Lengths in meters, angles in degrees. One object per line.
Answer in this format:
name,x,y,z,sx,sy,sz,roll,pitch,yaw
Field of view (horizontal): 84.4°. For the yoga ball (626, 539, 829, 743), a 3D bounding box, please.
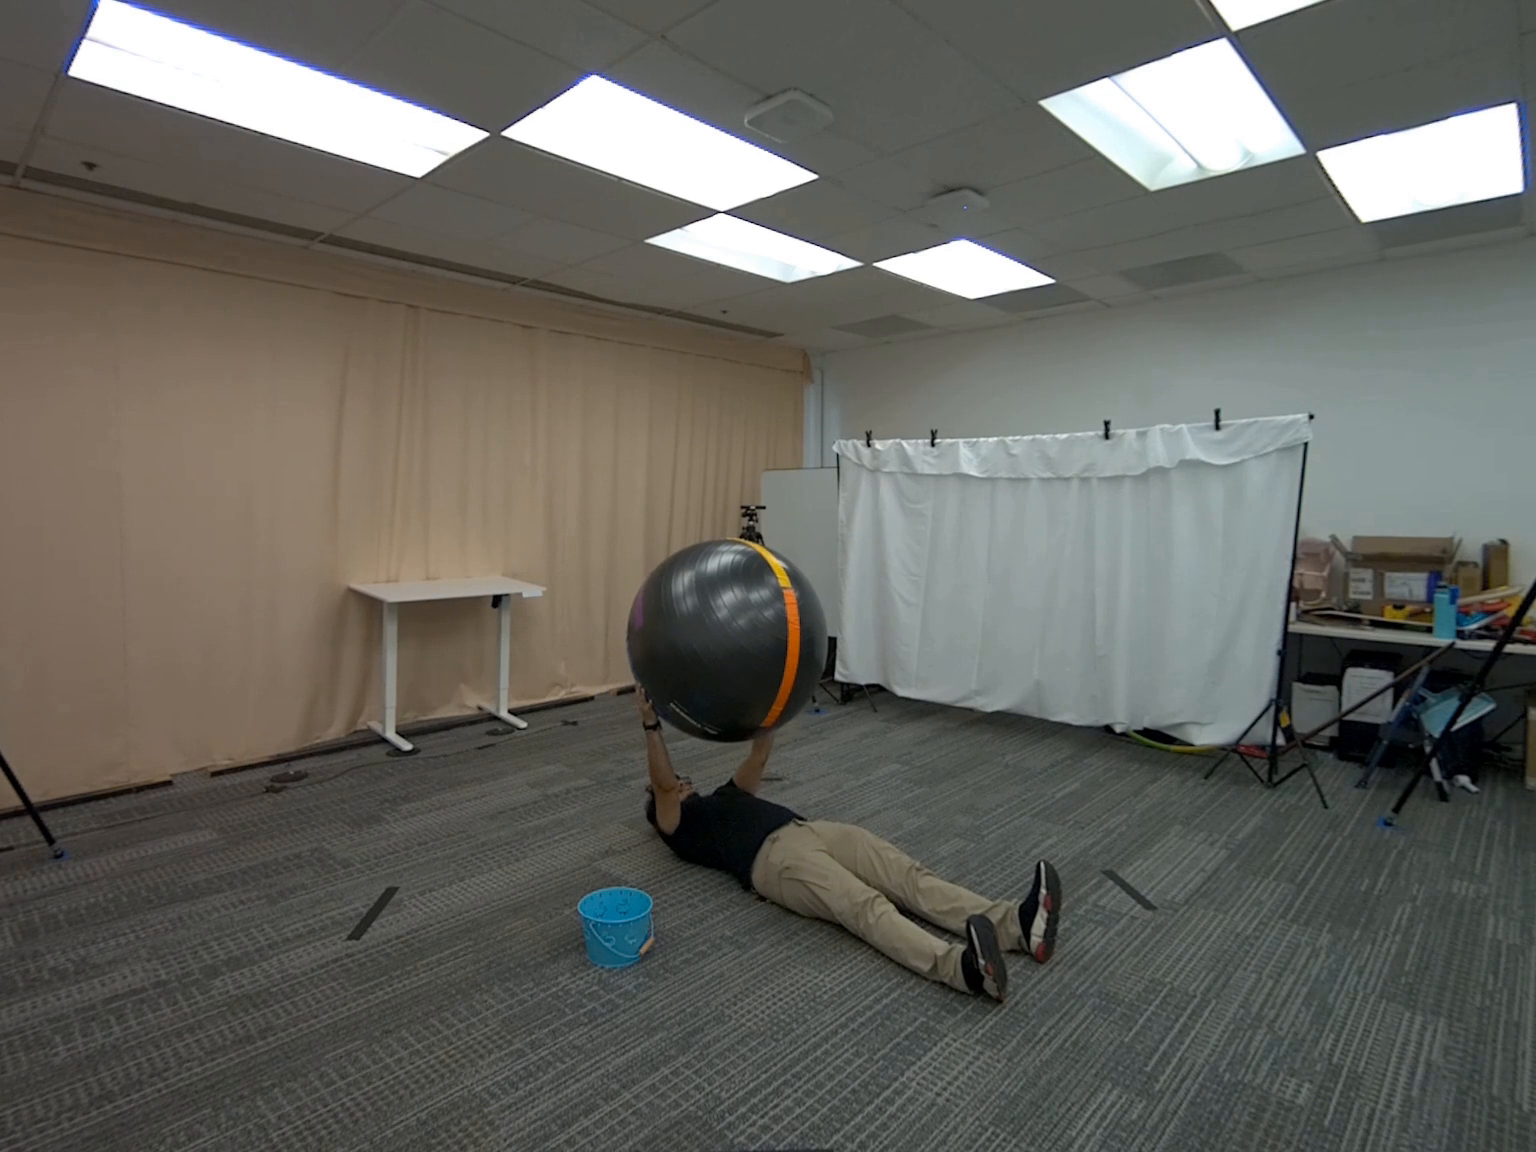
yoga ball,-0.156,0.247,3.171,0.757,0.756,0.761,0,4,-2
